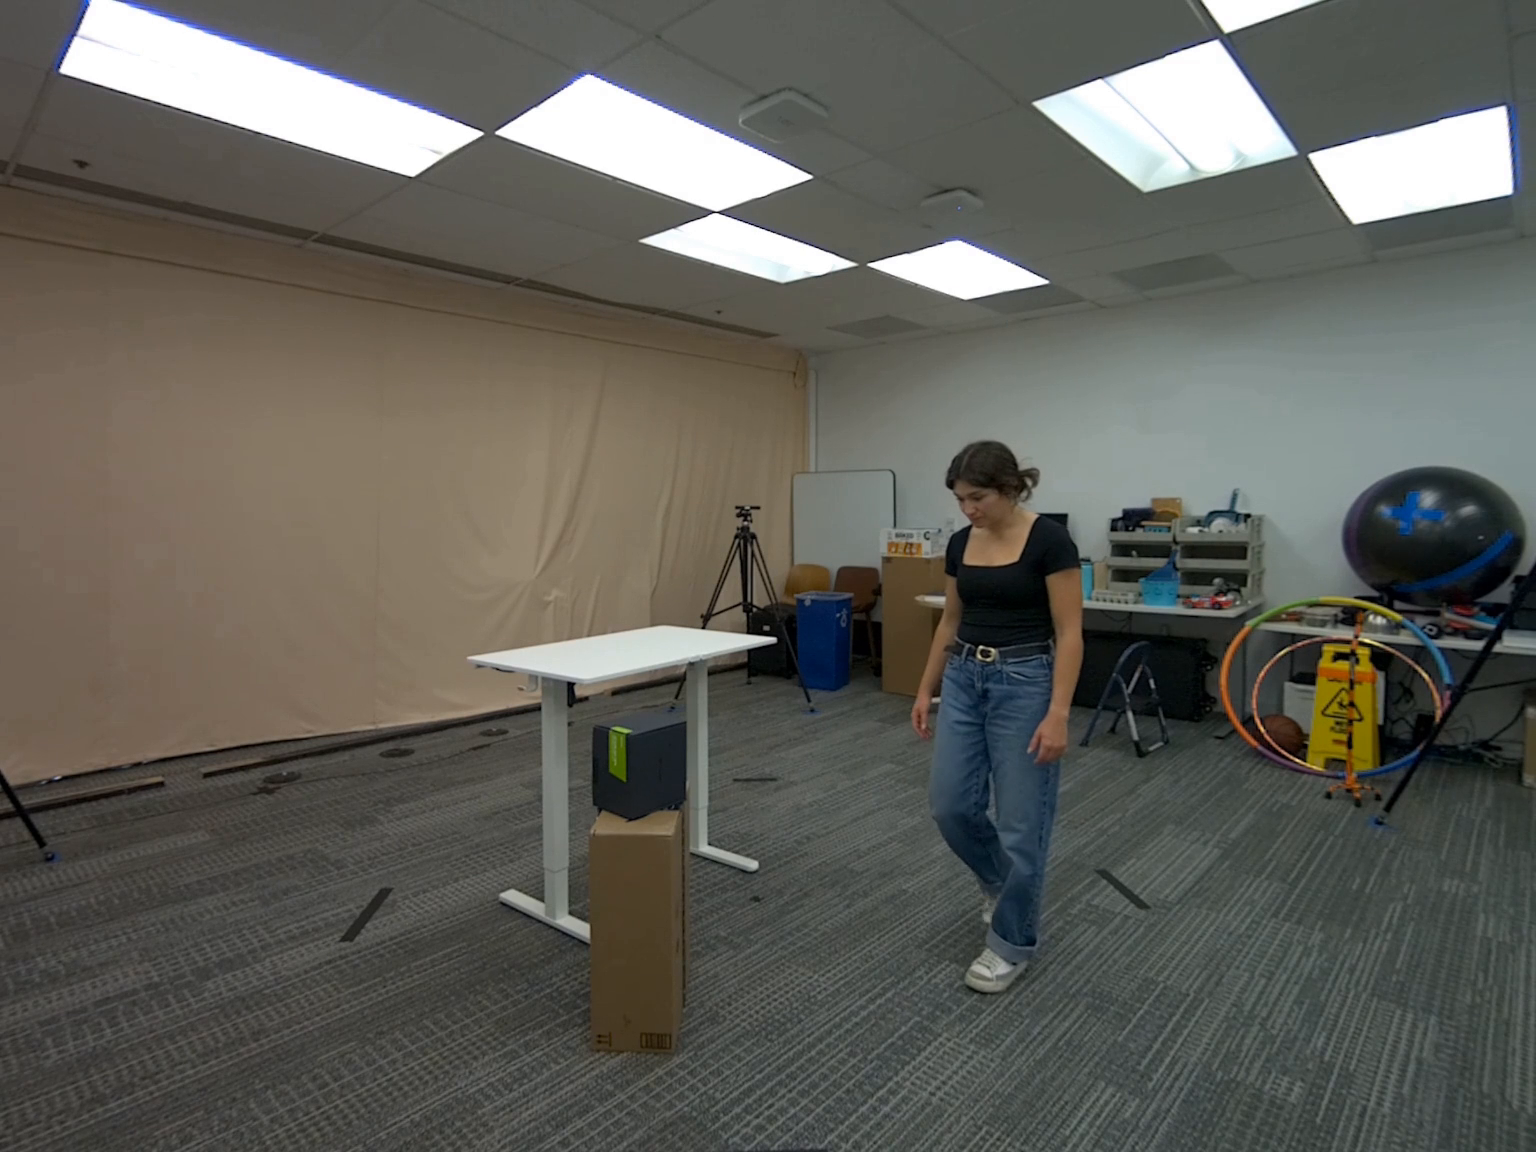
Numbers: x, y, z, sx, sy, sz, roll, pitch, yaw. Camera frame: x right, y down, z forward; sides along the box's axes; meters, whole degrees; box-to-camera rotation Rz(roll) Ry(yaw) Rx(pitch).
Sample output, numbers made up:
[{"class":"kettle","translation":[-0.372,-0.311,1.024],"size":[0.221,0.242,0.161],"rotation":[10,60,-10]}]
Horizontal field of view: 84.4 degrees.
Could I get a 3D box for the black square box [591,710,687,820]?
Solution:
[{"class":"black square box","translation":[-0.349,0.522,2.349],"size":[0.161,0.227,0.210],"rotation":[2,3,41]}]
